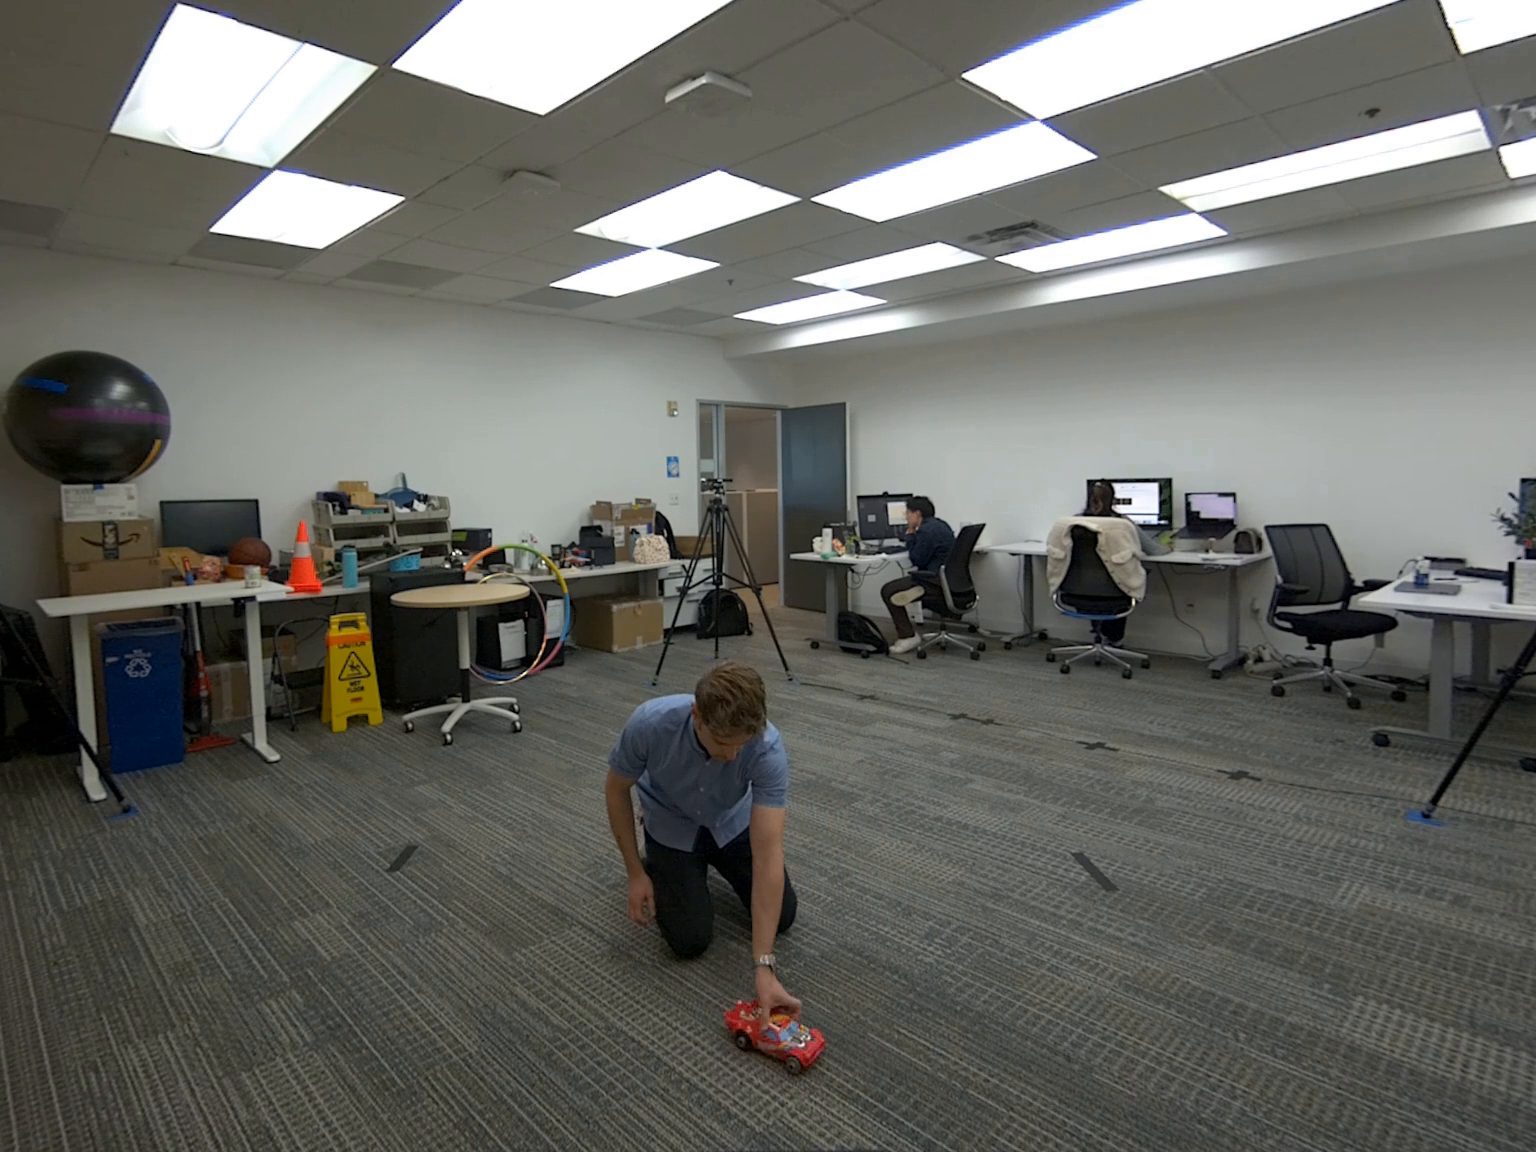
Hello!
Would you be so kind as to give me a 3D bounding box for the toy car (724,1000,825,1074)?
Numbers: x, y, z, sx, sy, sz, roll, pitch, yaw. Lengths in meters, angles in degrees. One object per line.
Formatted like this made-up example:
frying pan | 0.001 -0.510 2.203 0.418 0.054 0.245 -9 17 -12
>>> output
toy car | 0.017 1.134 2.111 0.263 0.082 0.127 17 15 34
